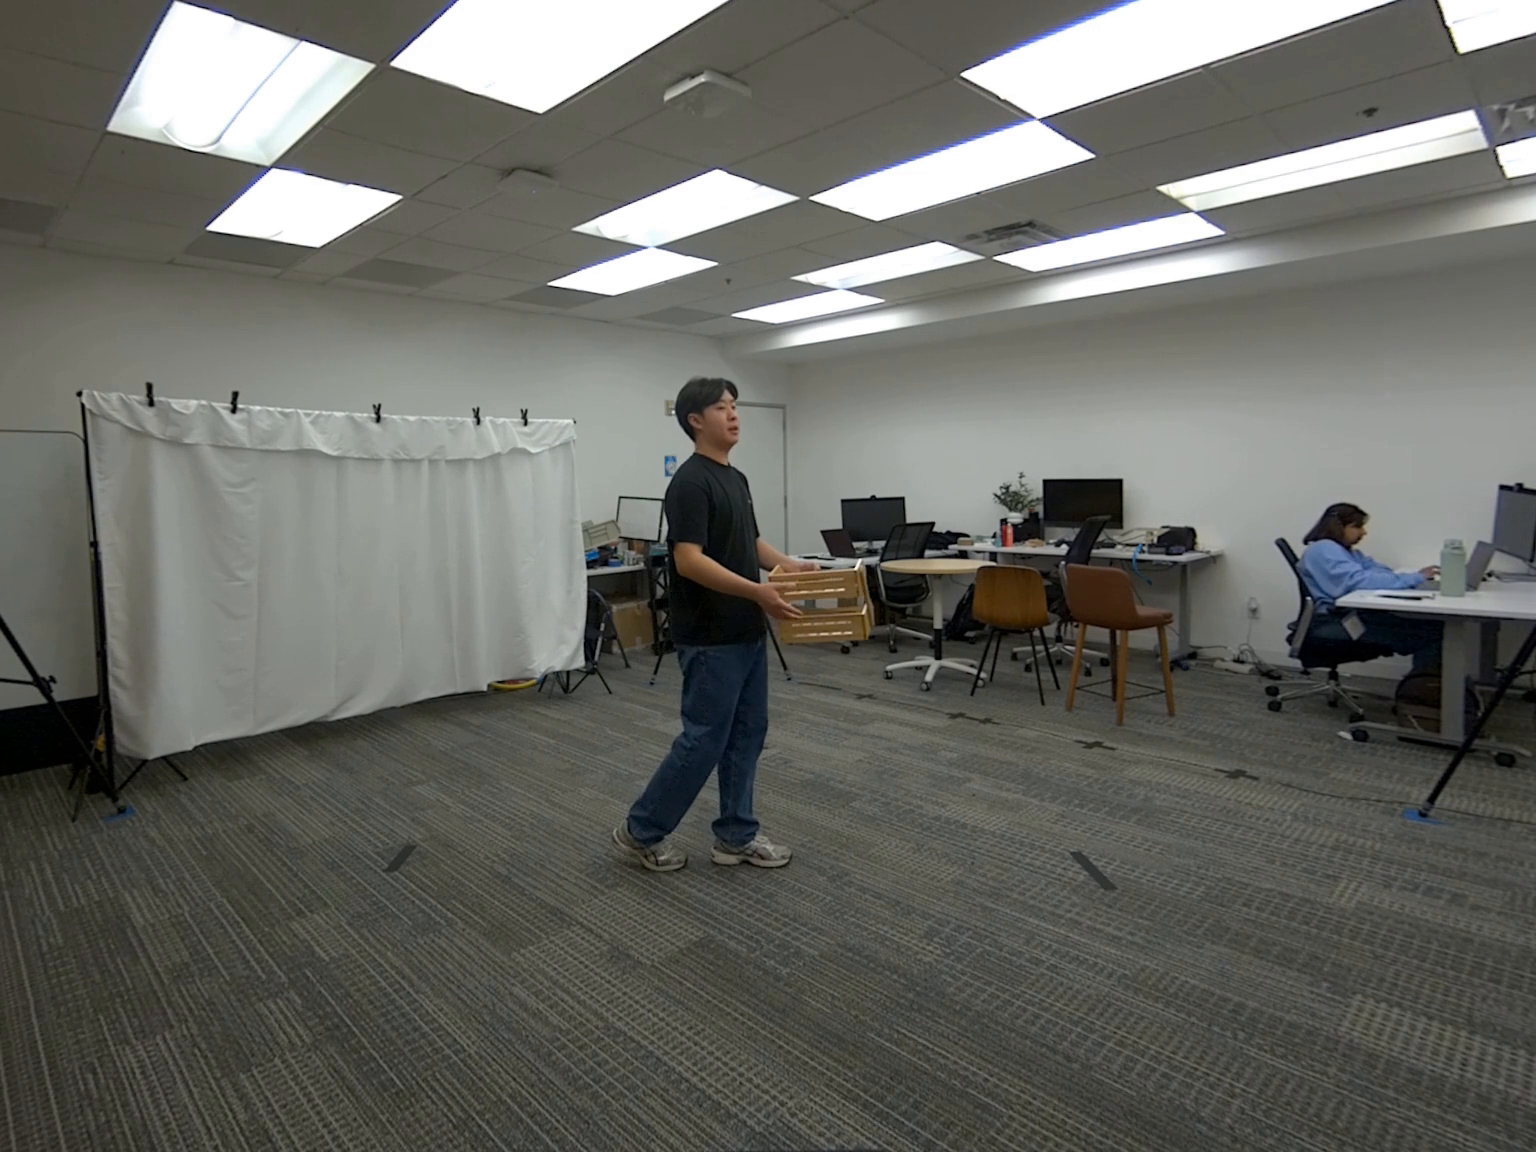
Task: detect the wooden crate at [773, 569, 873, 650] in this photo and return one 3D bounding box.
[{"bbox_3d":[0.195,0.072,3.004,0.329,0.270,0.301,-4,13,16],"label":"wooden crate"}]
